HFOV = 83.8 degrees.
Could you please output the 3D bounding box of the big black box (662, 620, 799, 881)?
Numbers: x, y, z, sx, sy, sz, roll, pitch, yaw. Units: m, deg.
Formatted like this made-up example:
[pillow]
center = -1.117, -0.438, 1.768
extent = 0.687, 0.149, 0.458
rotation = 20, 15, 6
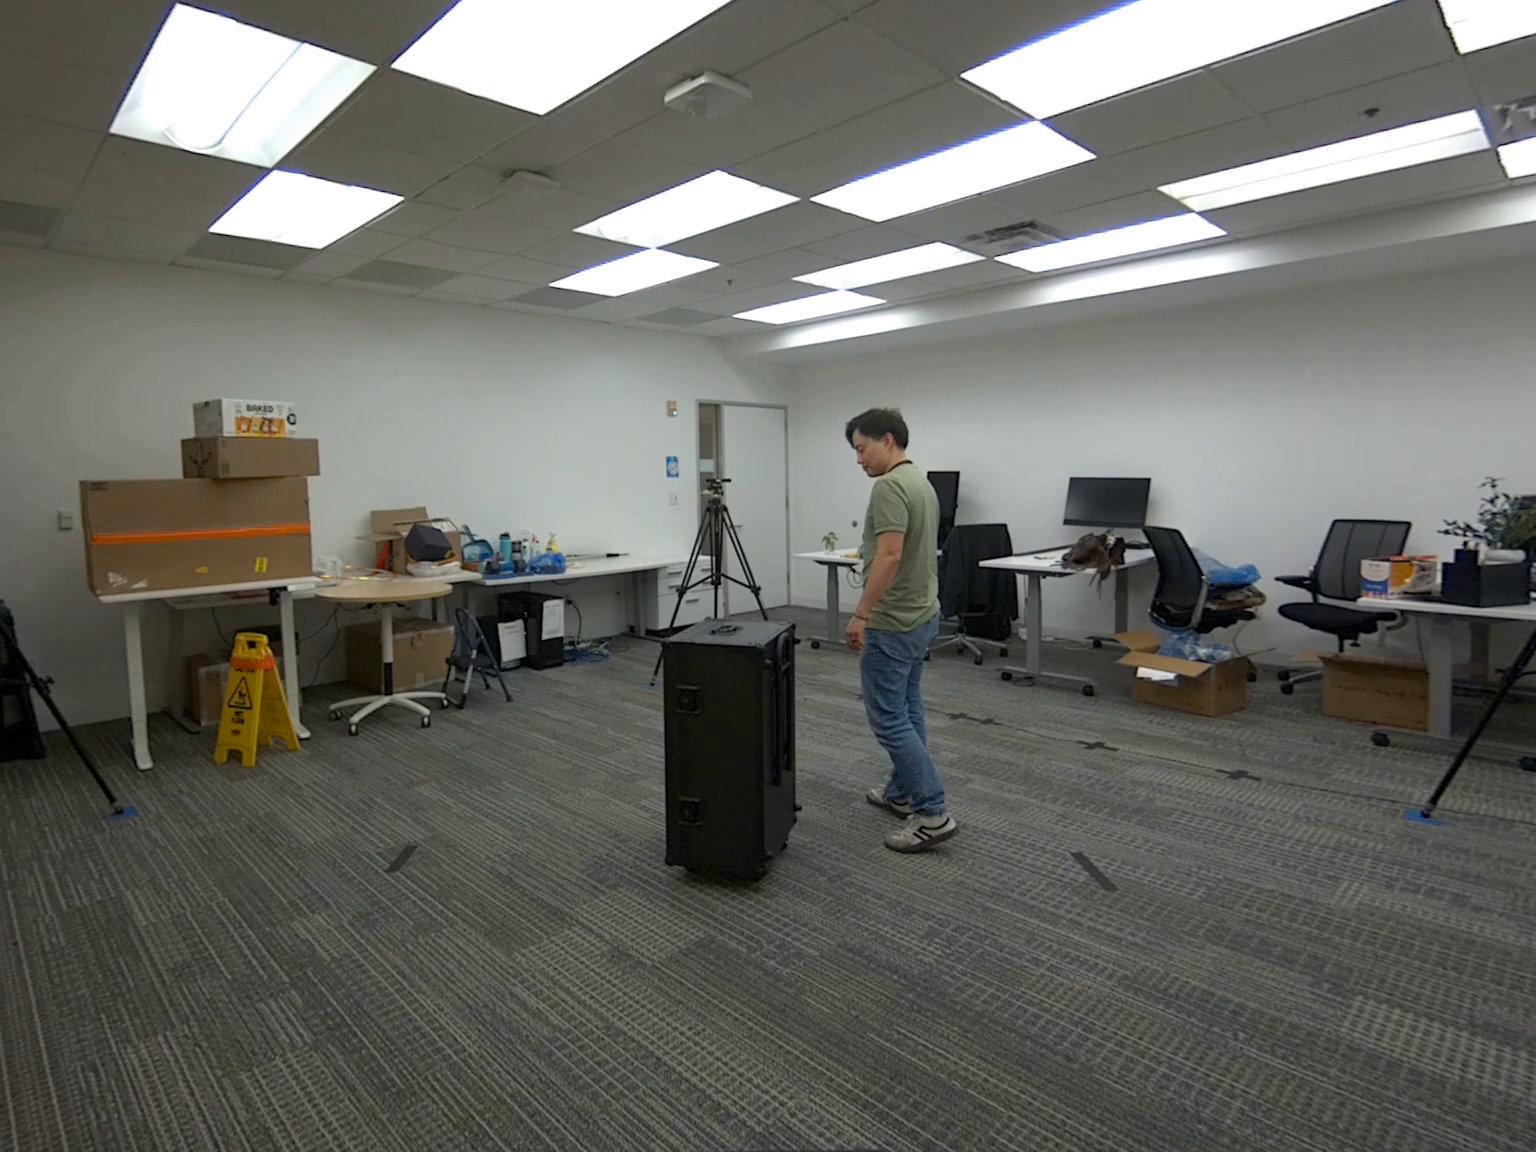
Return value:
[big black box]
center = -0.115, 0.620, 3.098
extent = 0.403, 0.858, 0.515
rotation = 1, 4, 16
